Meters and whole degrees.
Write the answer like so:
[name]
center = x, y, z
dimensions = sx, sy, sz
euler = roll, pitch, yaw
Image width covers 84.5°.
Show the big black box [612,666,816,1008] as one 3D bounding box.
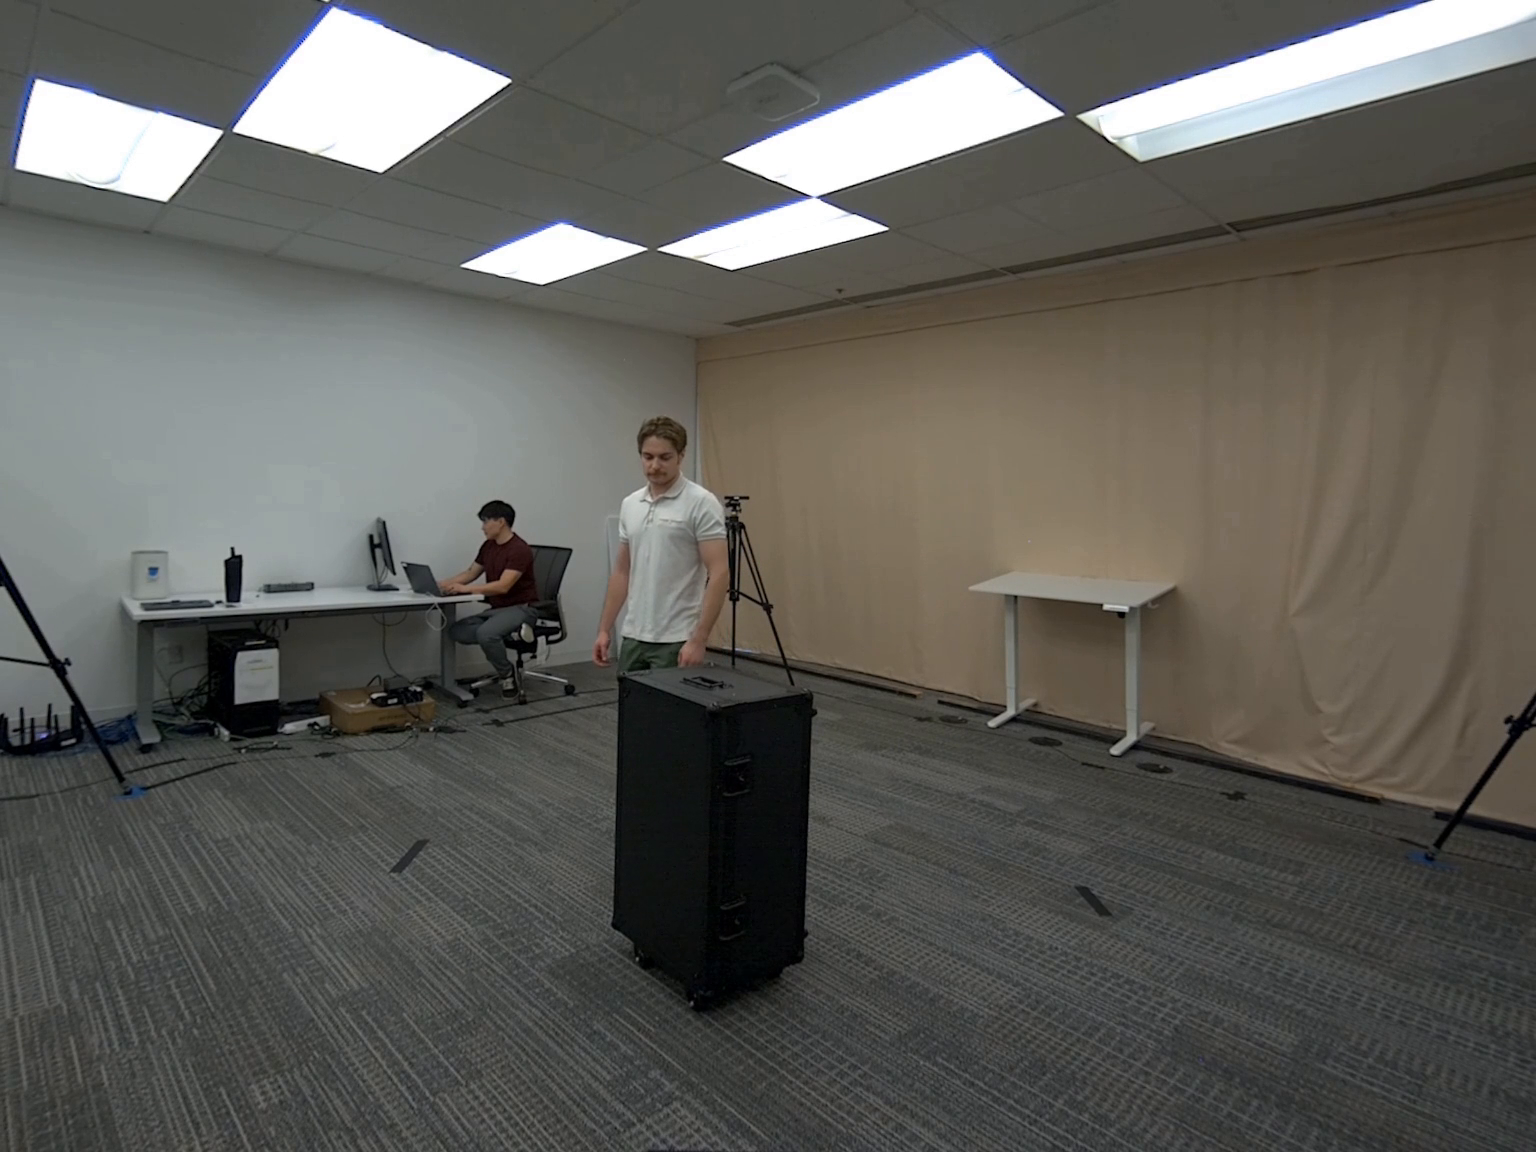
[big black box]
center = -0.171, 0.740, 2.476
dimensions = 0.387, 0.860, 0.534
euler = 0, 3, -40
